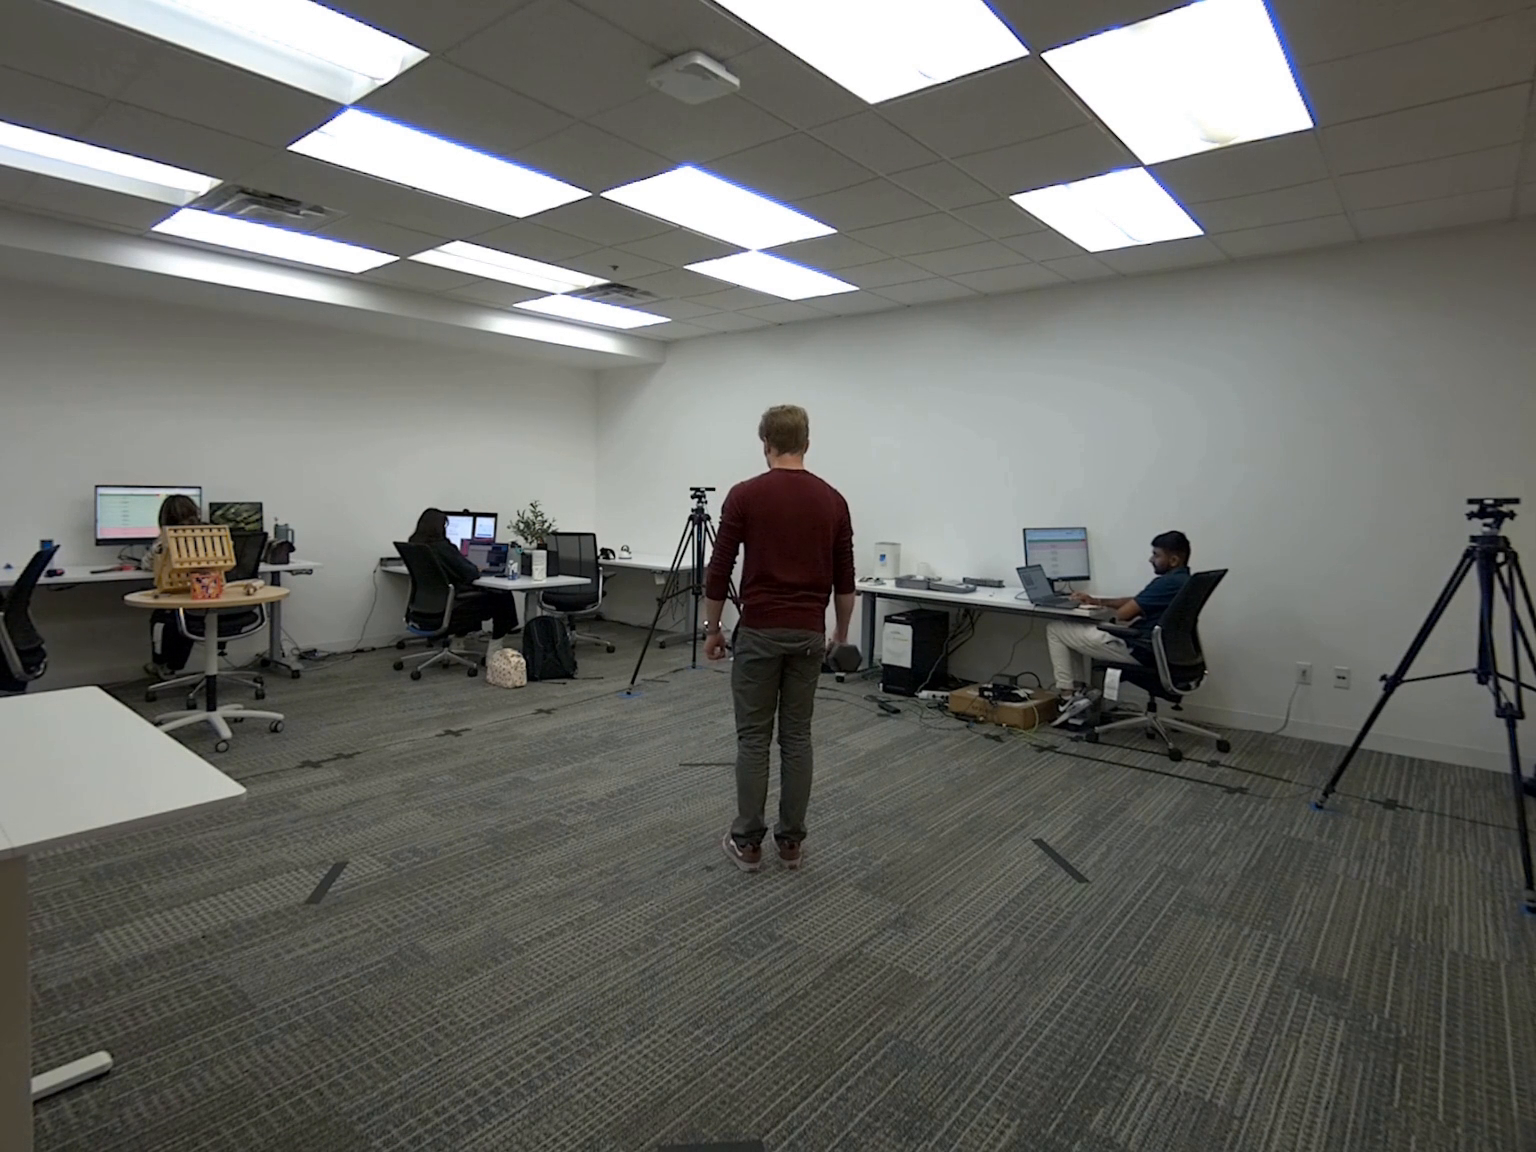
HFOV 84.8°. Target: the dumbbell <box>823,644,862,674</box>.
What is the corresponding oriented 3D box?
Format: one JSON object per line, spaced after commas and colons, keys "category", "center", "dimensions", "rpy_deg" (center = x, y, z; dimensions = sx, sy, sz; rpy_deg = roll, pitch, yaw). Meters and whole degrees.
{"category": "dumbbell", "center": [0.254, 0.314, 3.342], "dimensions": [0.108, 0.123, 0.297], "rpy_deg": [-28, 4, -17]}
